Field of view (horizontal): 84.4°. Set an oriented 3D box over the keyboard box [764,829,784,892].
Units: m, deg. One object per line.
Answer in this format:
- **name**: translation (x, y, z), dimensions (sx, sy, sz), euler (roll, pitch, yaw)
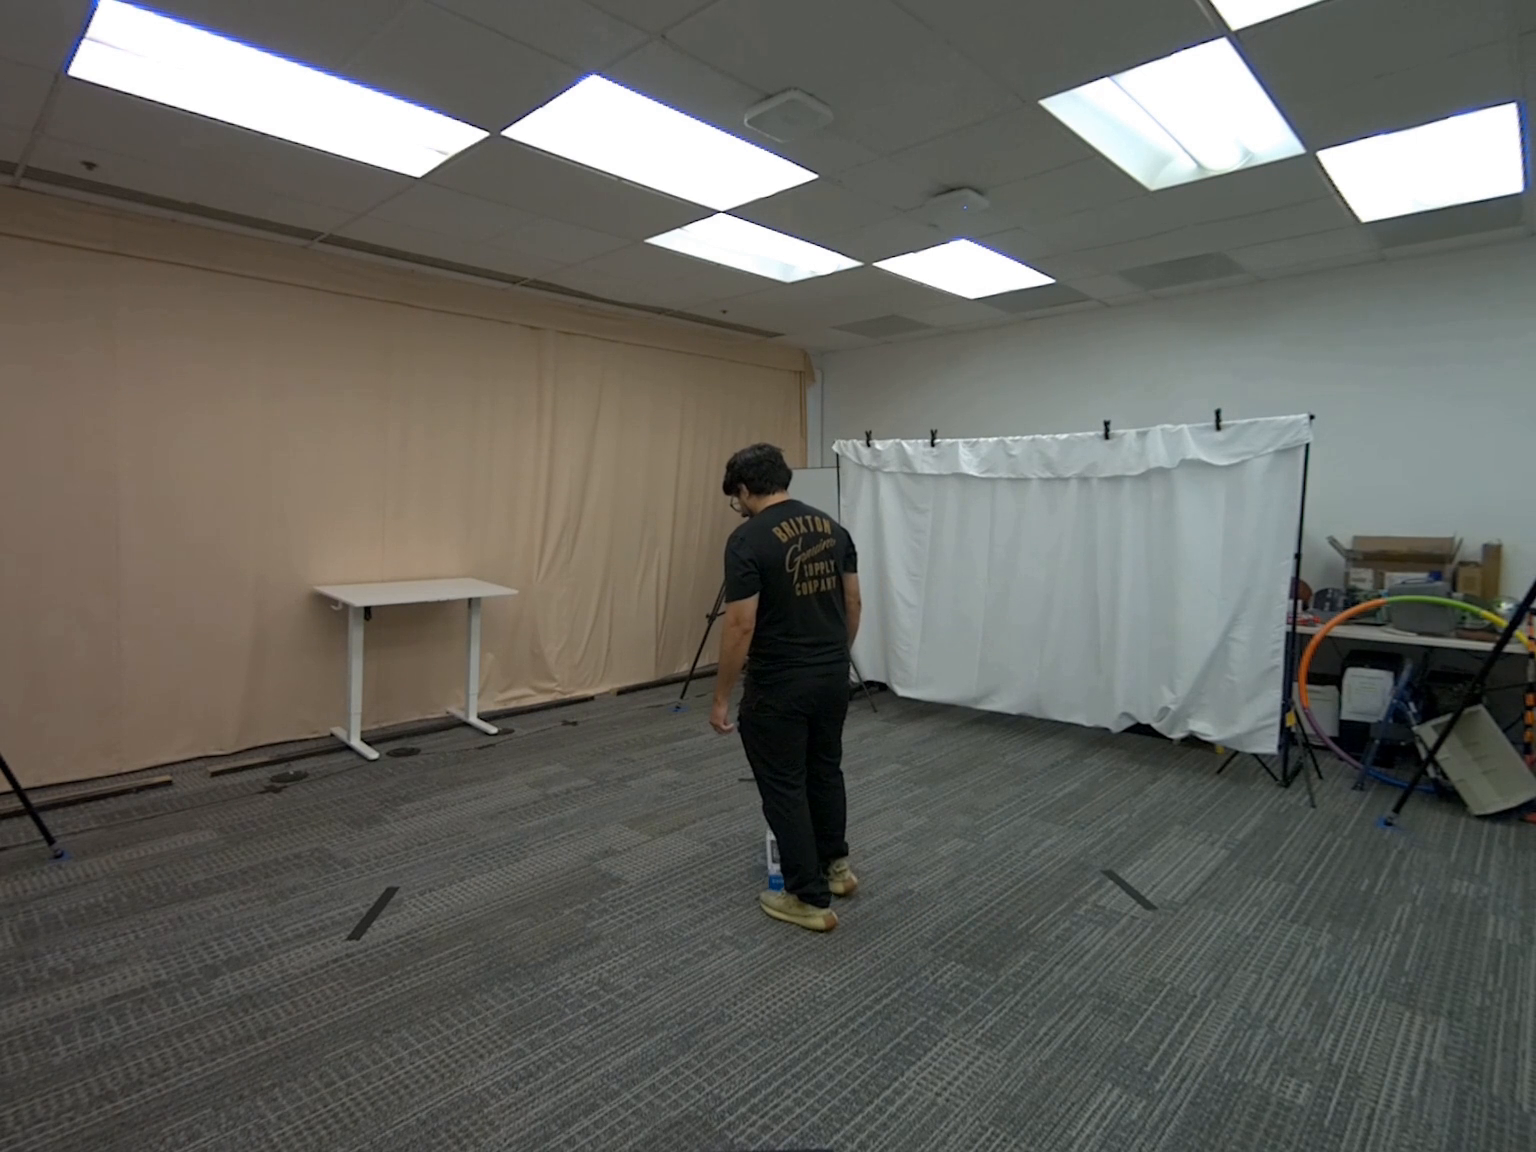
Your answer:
- **keyboard box**: translation (0.085, 1.089, 3.241), dimensions (0.176, 0.059, 0.437), euler (0, 5, -1)
